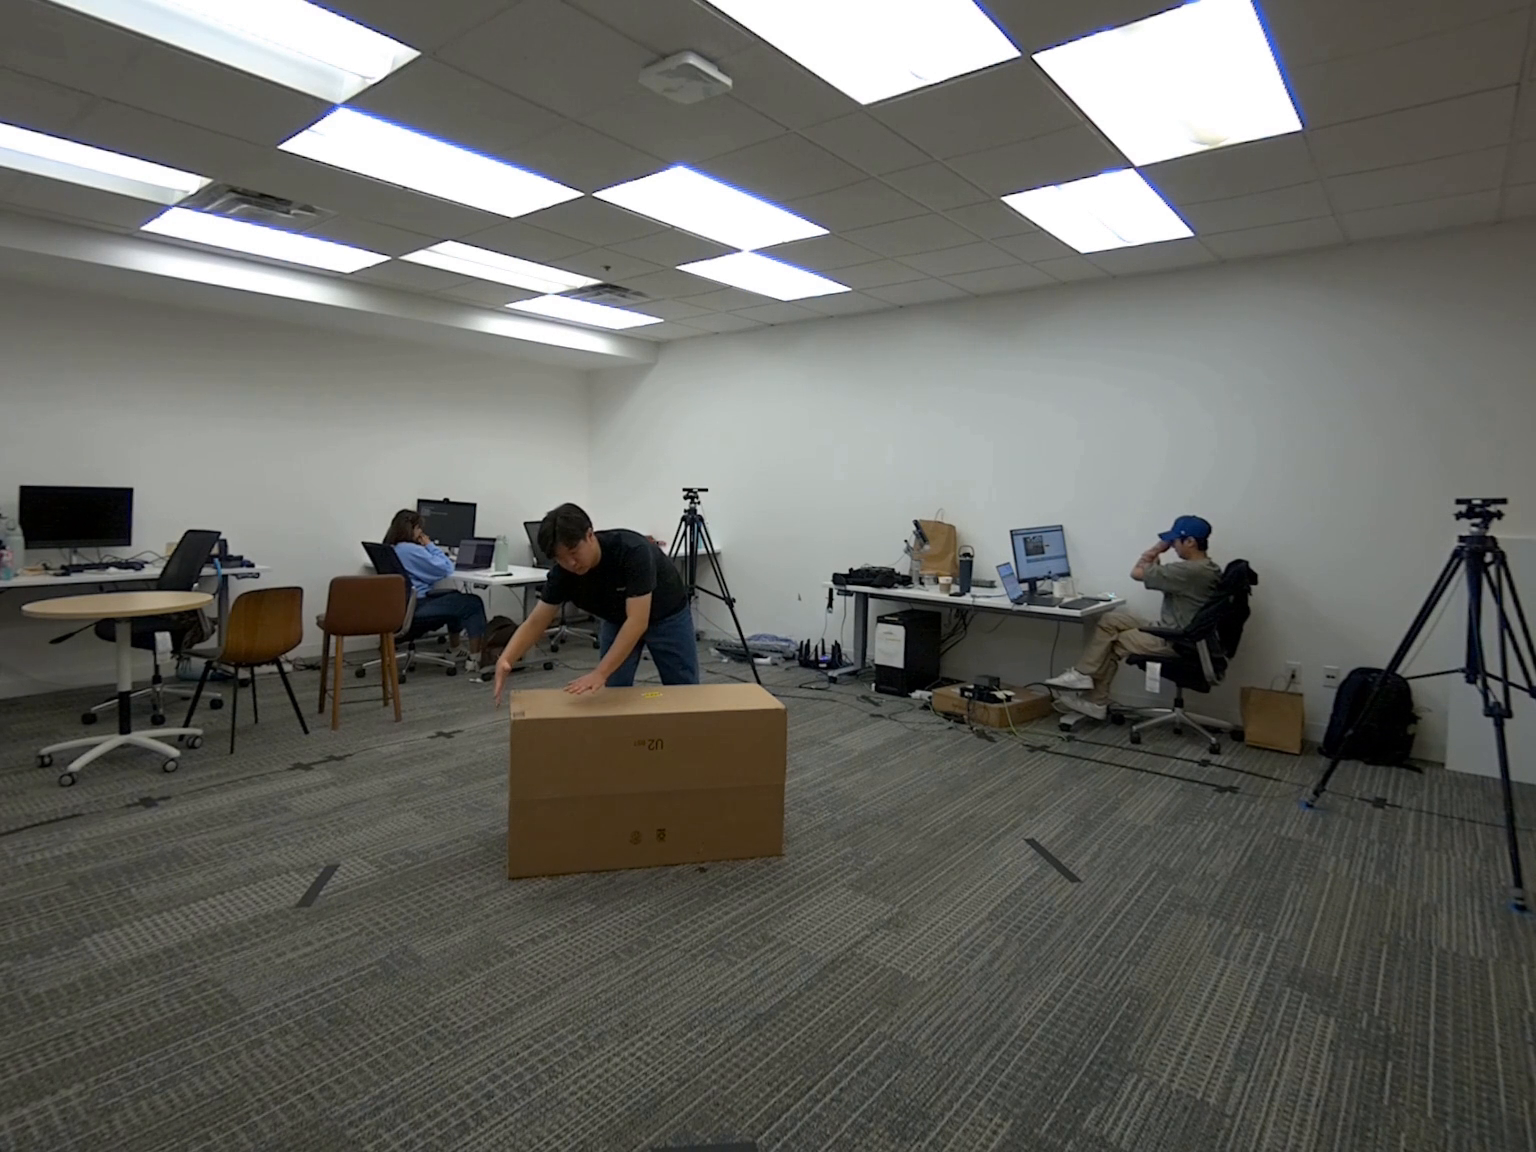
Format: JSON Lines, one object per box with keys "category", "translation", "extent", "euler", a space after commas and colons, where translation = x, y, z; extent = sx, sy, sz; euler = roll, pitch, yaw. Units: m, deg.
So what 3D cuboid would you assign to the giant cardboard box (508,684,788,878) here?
{"category": "giant cardboard box", "translation": [-0.491, 0.755, 3.305], "extent": [1.011, 0.583, 0.455], "euler": [0, 3, -15]}
